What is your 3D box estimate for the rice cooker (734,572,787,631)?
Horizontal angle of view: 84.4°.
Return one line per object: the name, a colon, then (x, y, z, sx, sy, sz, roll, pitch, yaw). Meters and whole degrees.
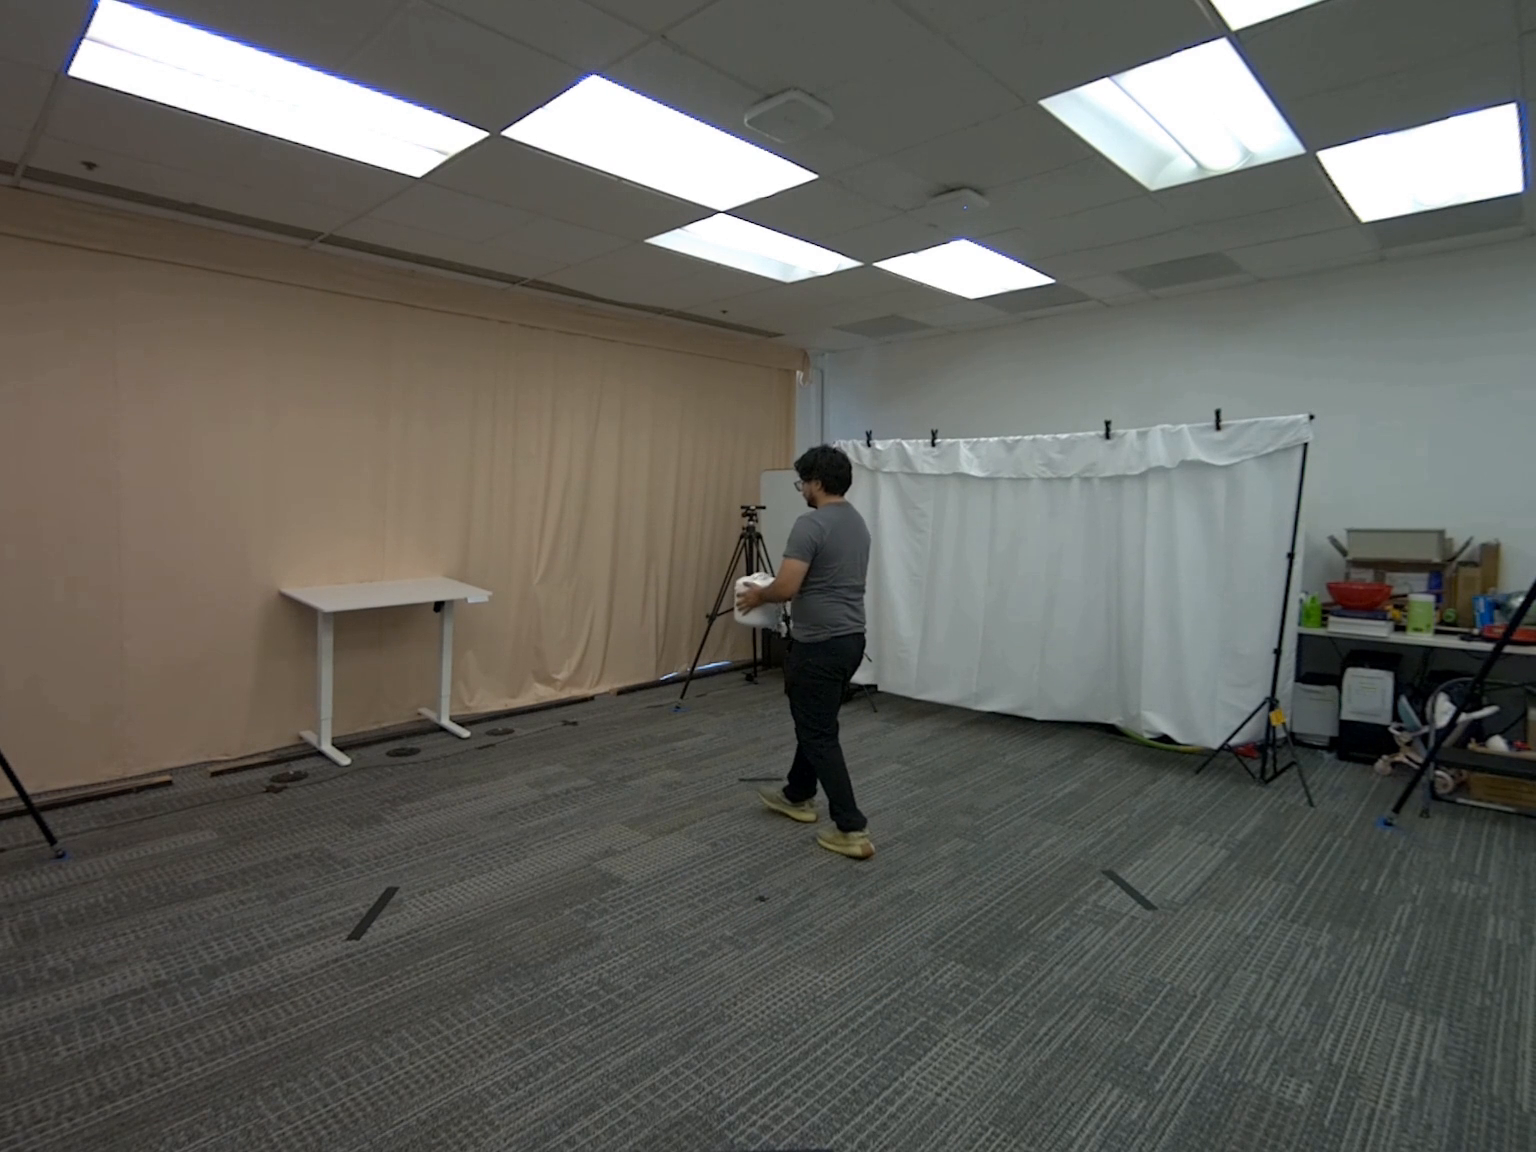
rice cooker: (-0.036, 0.098, 3.710, 0.224, 0.232, 0.215, 6, 9, 30)
